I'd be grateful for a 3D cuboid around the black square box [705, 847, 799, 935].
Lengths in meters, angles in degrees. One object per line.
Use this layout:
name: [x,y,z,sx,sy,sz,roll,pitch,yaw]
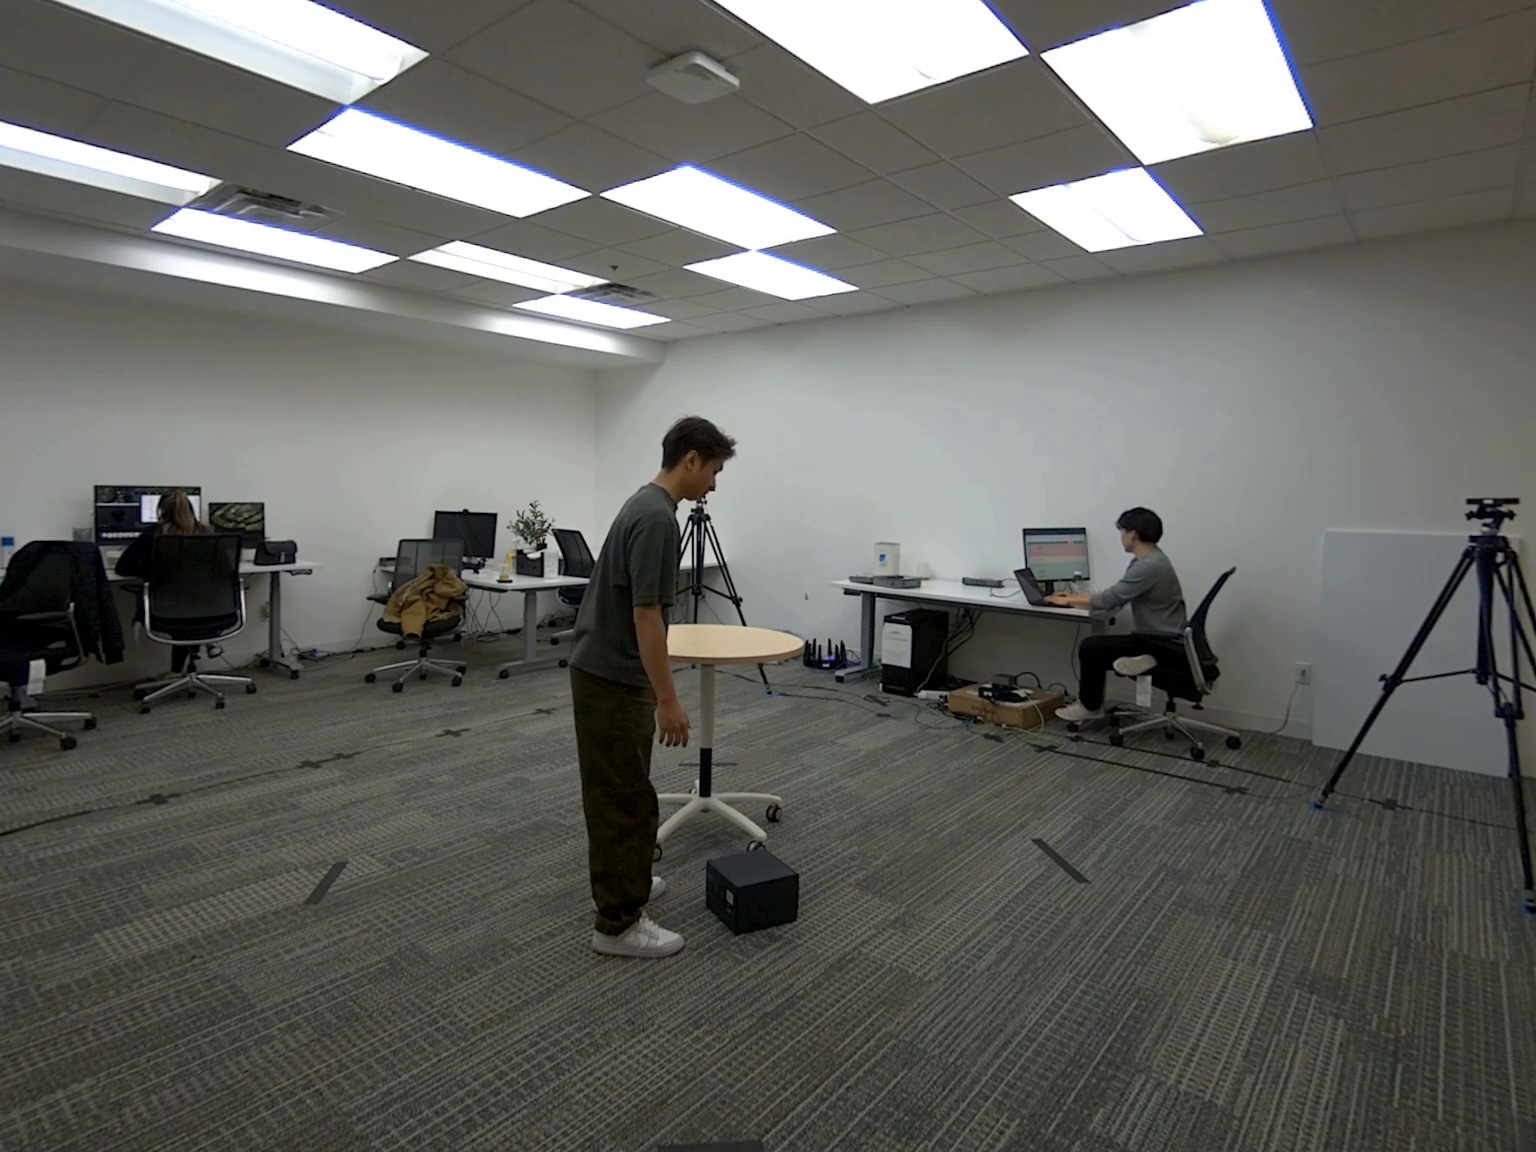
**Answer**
black square box: [-0.061,1.020,2.772,0.222,0.155,0.223,-1,5,-30]
